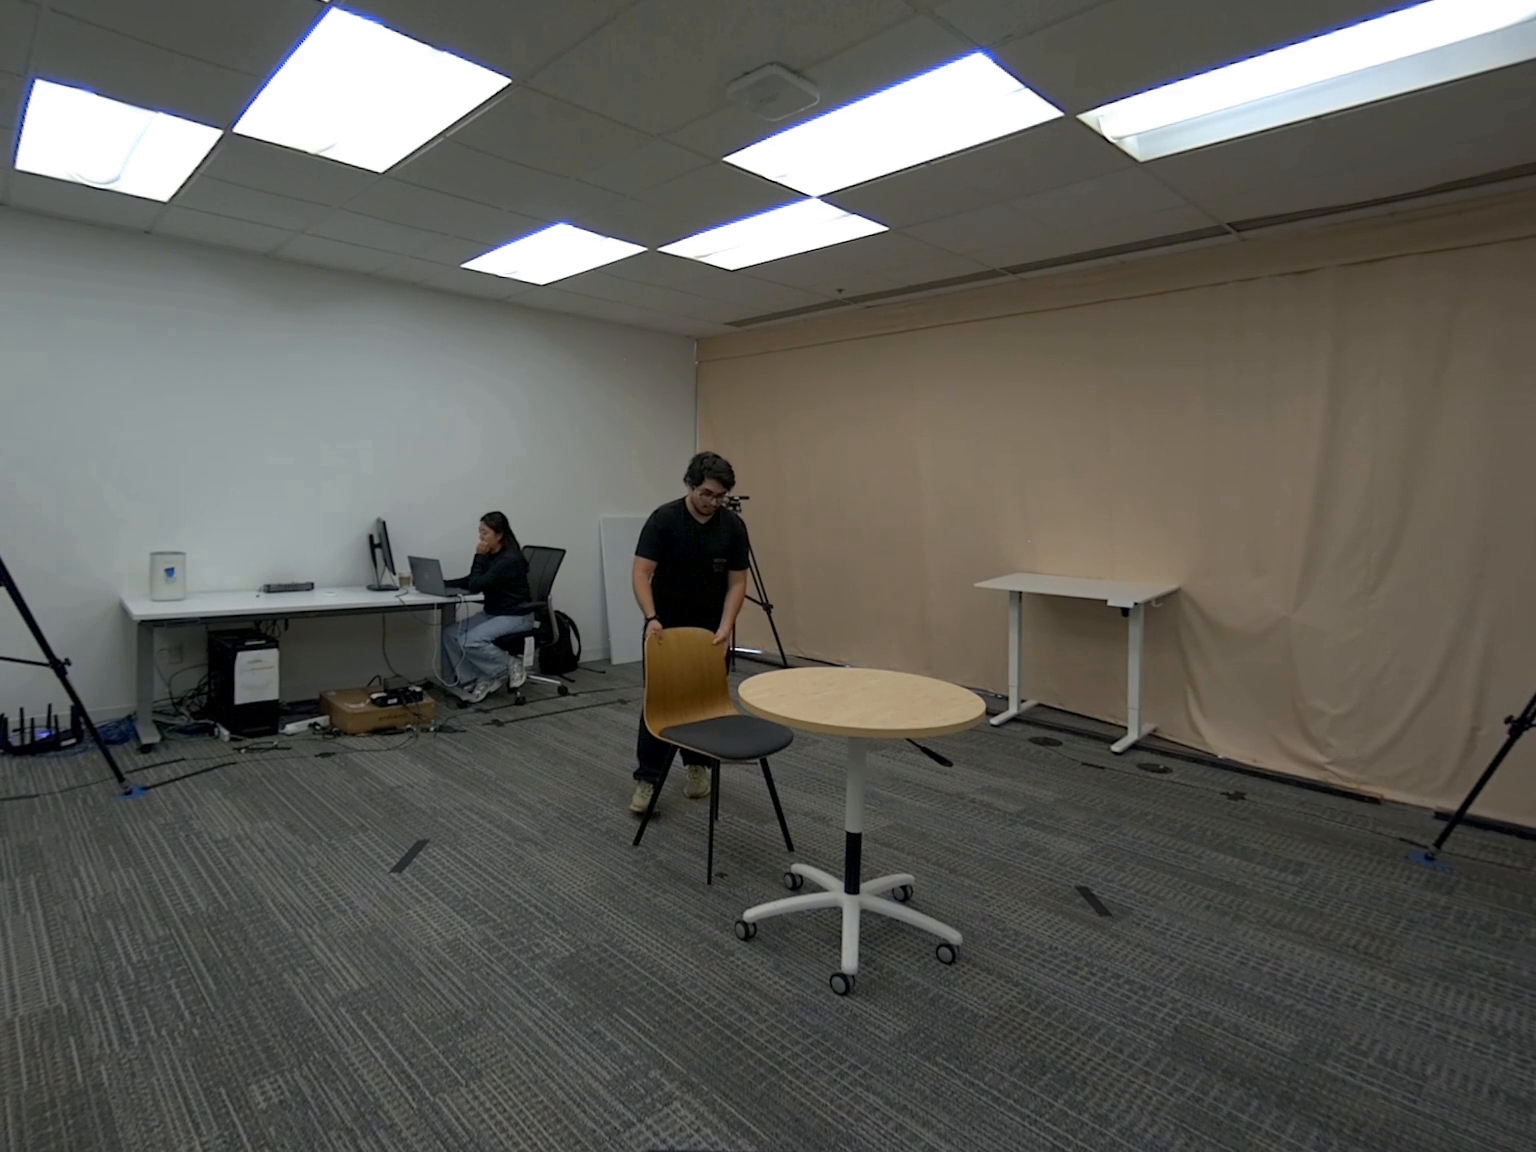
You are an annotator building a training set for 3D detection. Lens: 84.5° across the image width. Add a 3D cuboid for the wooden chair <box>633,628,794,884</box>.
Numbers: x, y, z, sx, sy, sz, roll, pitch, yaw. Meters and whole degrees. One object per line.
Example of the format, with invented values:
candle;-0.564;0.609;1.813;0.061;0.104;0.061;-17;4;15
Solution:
wooden chair;-0.206;0.660;3.297;0.467;0.877;0.535;-2;0;-45
